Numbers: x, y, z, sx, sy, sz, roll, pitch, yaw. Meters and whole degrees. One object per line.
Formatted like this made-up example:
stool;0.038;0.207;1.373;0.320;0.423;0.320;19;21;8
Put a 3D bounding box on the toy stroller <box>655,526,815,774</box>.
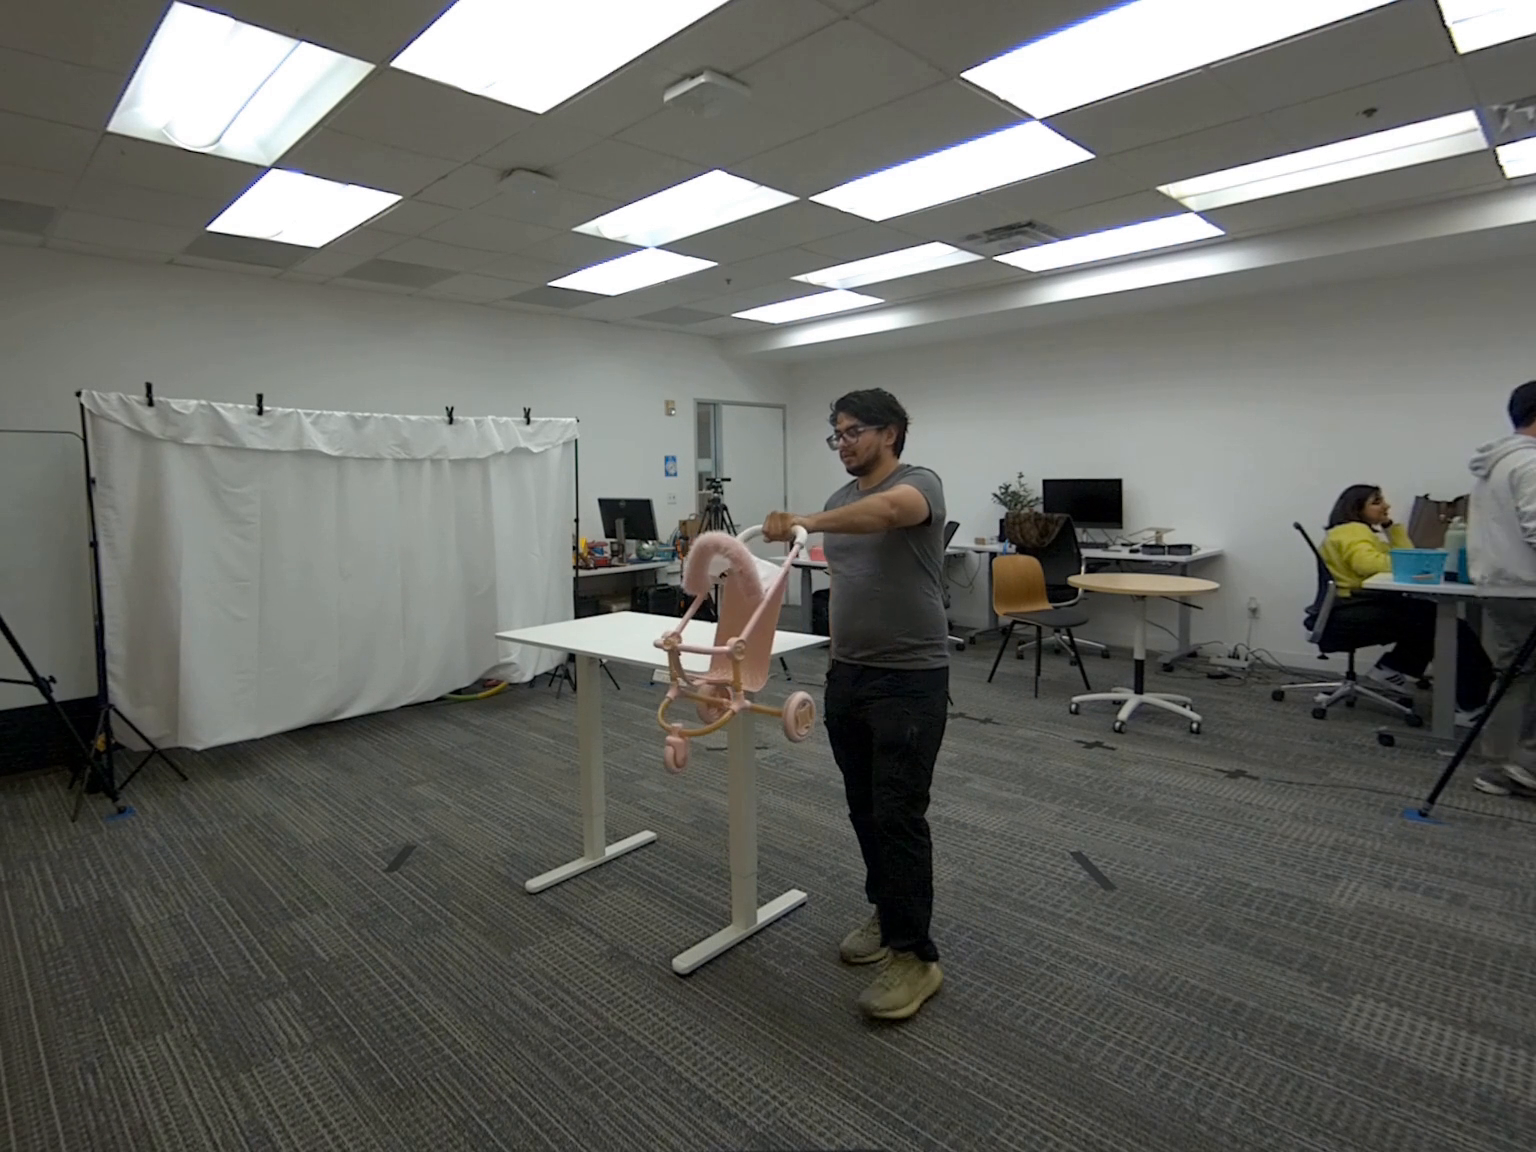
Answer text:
toy stroller;-0.086;0.146;1.862;0.290;0.536;0.331;1;-3;45
